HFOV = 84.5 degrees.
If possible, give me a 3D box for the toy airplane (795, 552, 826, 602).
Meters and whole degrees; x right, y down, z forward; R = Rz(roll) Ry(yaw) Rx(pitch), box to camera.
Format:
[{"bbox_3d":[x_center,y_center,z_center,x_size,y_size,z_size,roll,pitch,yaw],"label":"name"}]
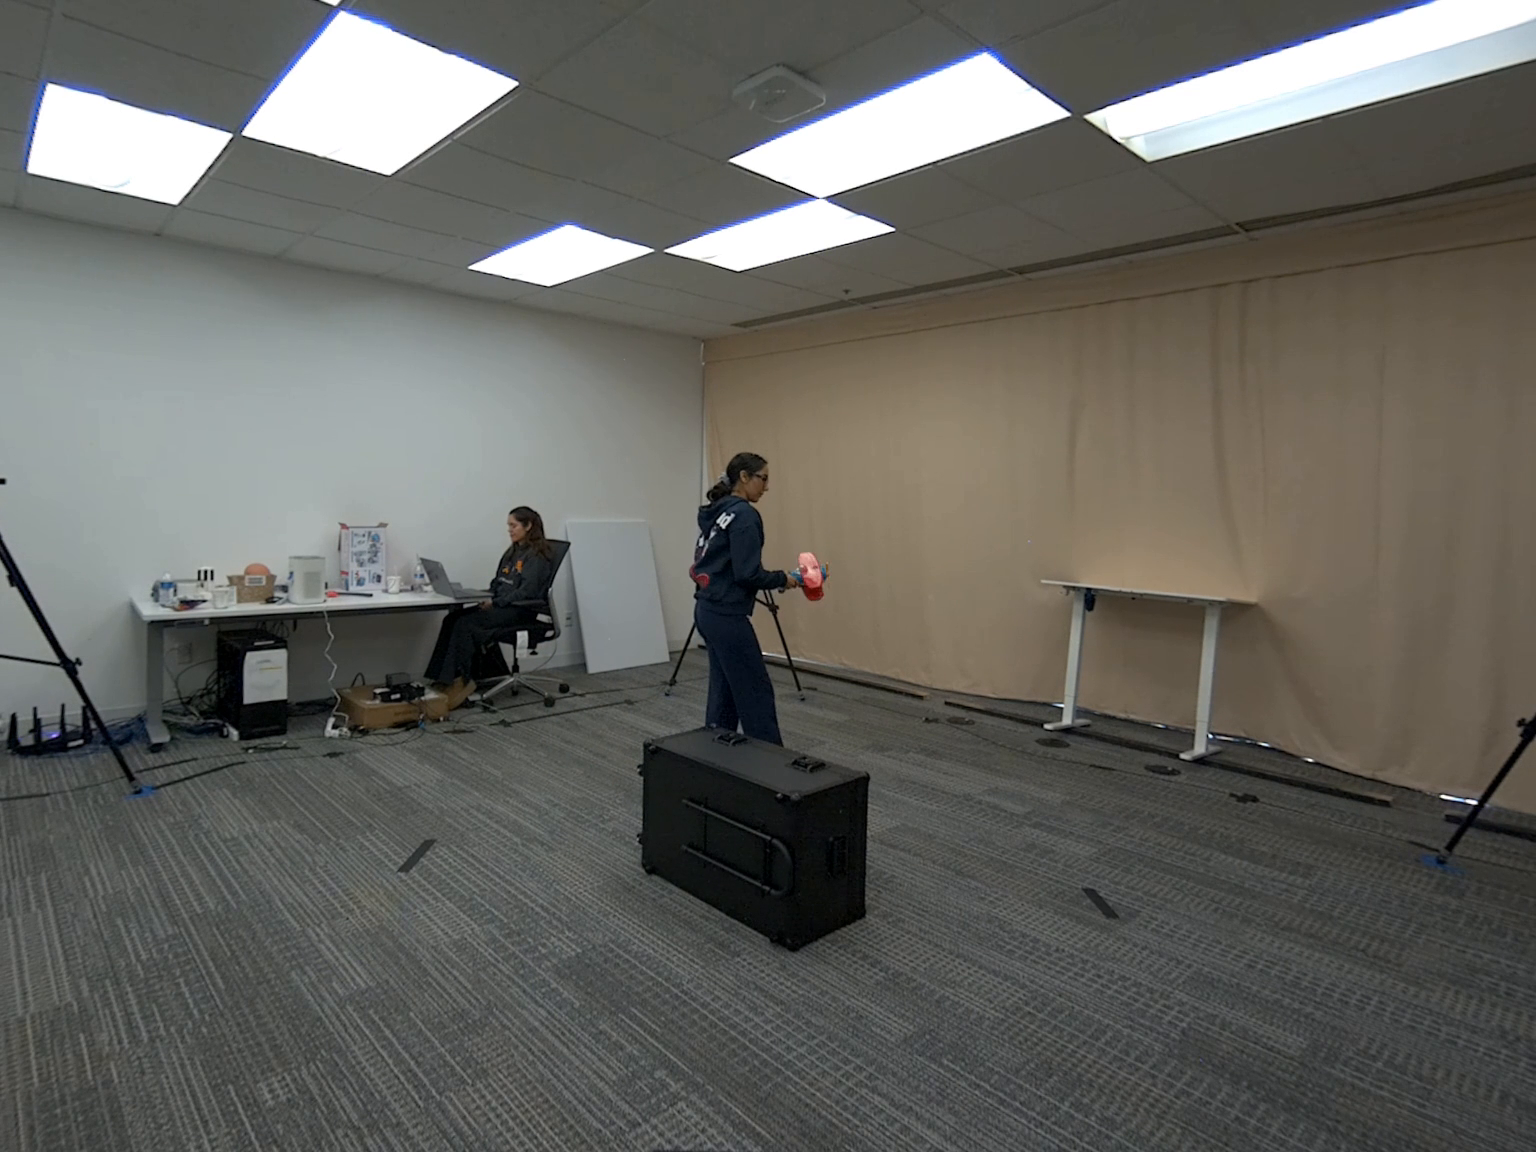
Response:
[{"bbox_3d":[0.151,0.030,4.034,0.255,0.154,0.259,-17,47,-33],"label":"toy airplane"}]
